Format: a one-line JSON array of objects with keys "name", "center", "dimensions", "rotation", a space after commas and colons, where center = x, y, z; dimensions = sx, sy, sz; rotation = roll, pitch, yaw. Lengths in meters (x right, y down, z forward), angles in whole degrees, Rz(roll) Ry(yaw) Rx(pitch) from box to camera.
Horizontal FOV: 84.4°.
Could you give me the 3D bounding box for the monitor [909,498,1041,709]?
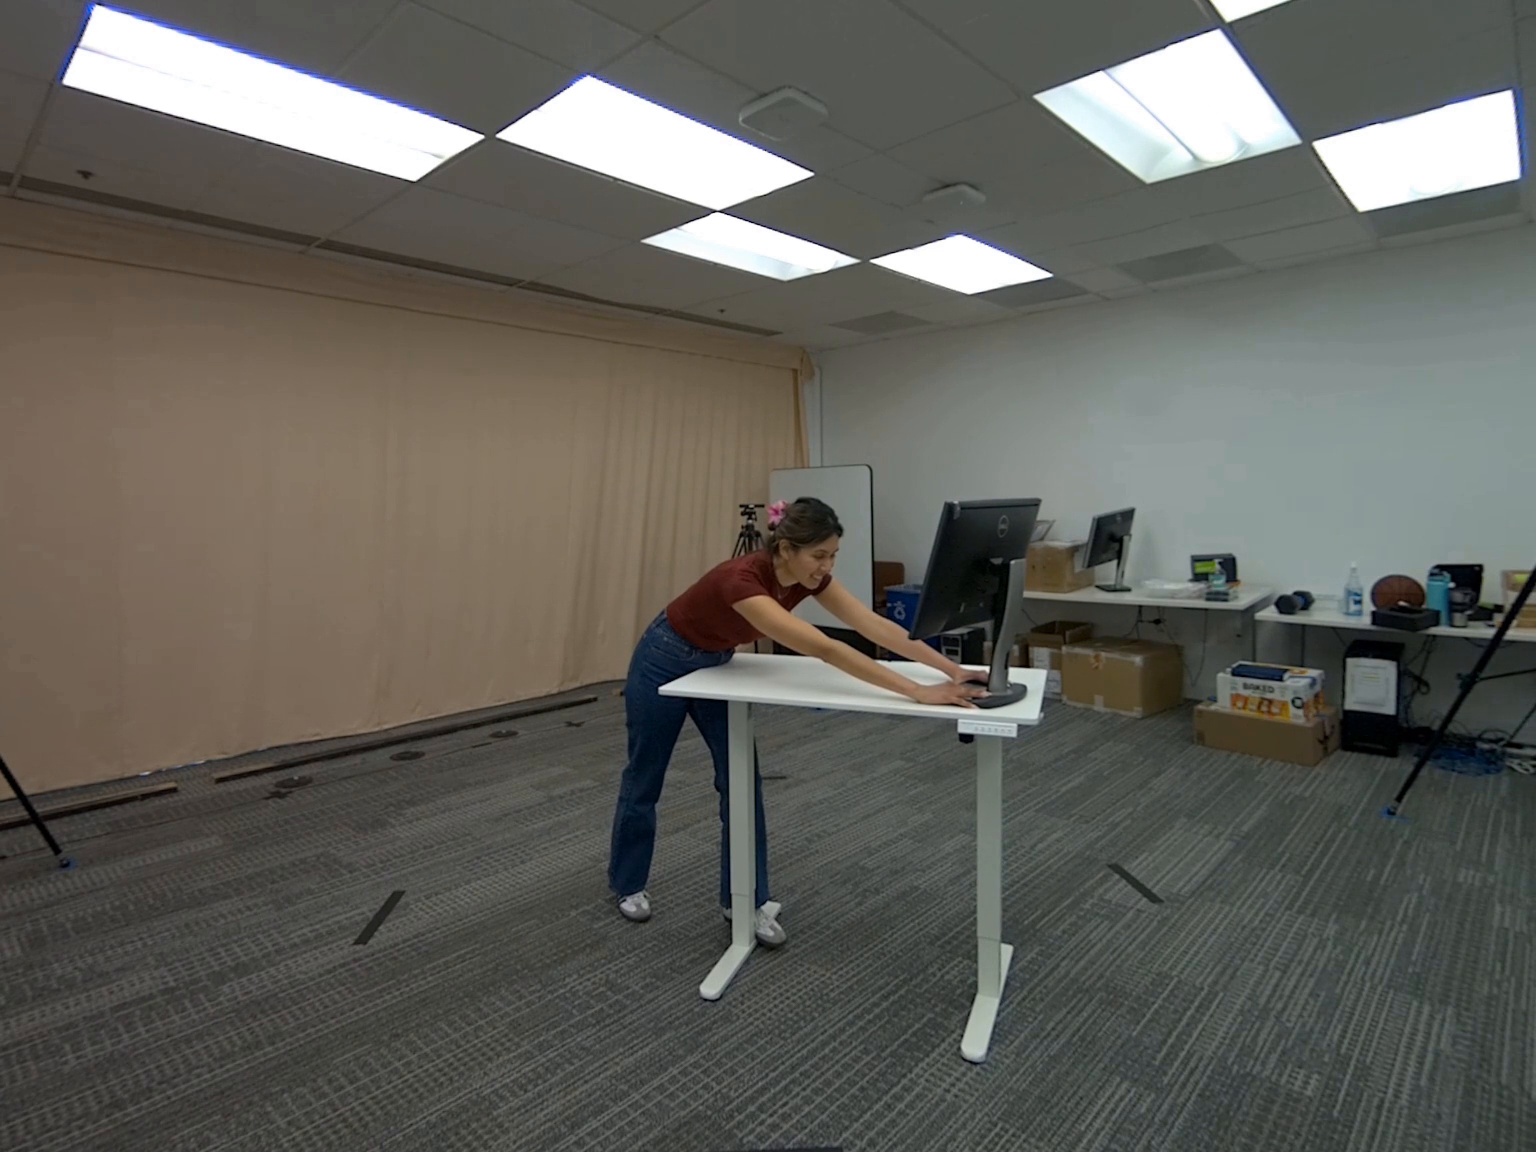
[{"name": "monitor", "center": [0.575, 0.060, 2.190], "dimensions": [0.193, 0.520, 0.524], "rotation": [5, 8, 35]}]
